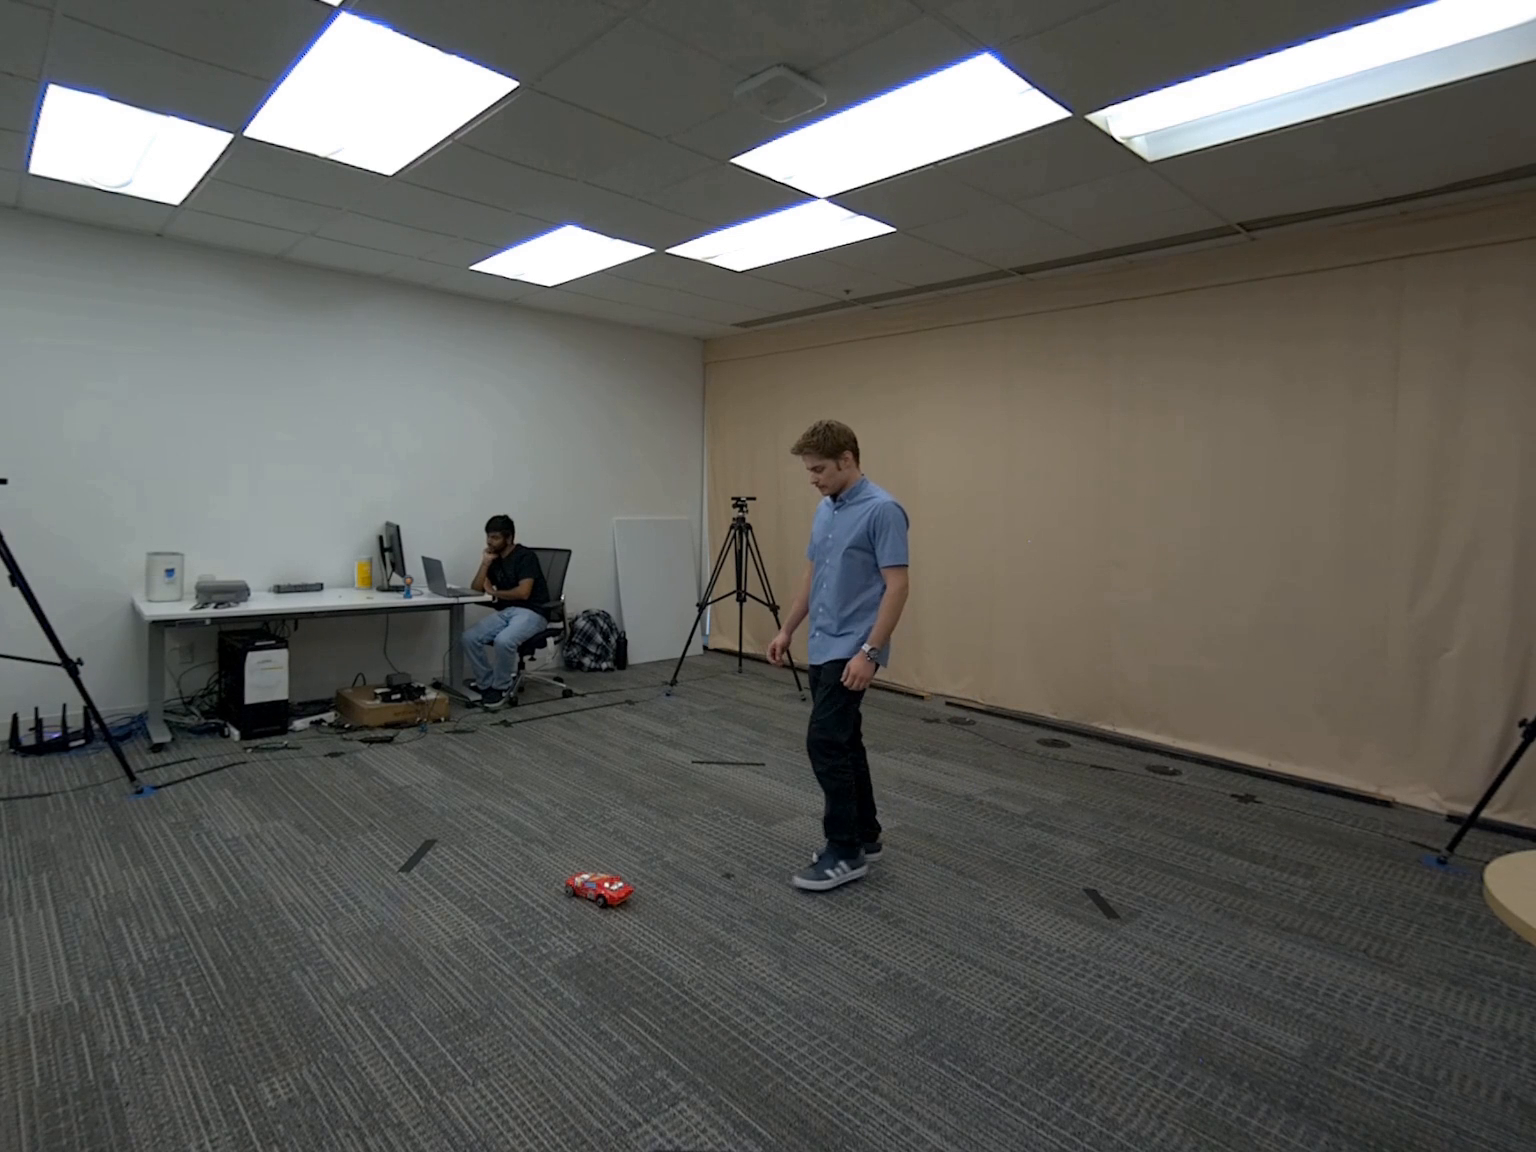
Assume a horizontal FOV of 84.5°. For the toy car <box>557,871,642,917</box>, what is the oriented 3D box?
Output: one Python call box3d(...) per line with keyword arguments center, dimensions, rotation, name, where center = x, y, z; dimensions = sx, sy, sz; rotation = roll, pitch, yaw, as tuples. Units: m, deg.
box3d(center=(-0.582, 1.087, 2.904), dimensions=(0.259, 0.083, 0.127), rotation=(-8, -2, 33), name="toy car")
